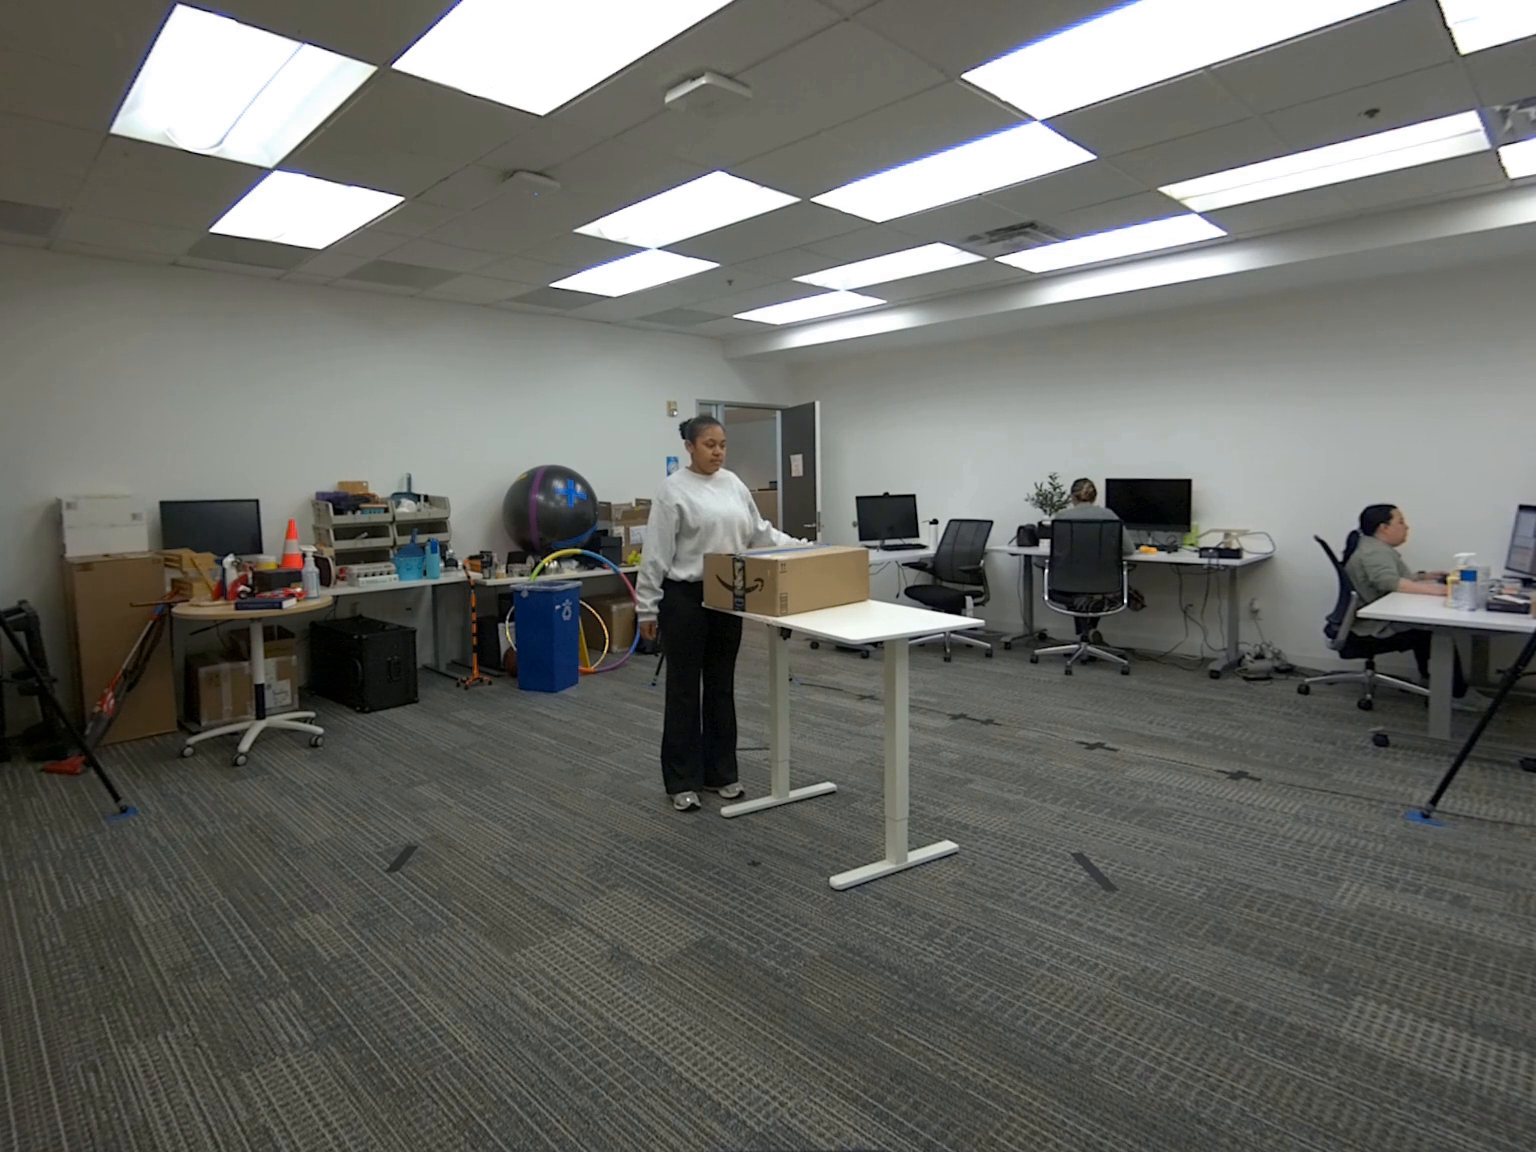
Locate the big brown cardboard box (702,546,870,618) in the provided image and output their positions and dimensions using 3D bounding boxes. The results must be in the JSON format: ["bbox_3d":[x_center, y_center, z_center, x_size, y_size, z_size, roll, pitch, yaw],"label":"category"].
[{"bbox_3d":[0.072,0.008,3.501,0.430,0.232,0.573,5,8,45],"label":"big brown cardboard box"}]
